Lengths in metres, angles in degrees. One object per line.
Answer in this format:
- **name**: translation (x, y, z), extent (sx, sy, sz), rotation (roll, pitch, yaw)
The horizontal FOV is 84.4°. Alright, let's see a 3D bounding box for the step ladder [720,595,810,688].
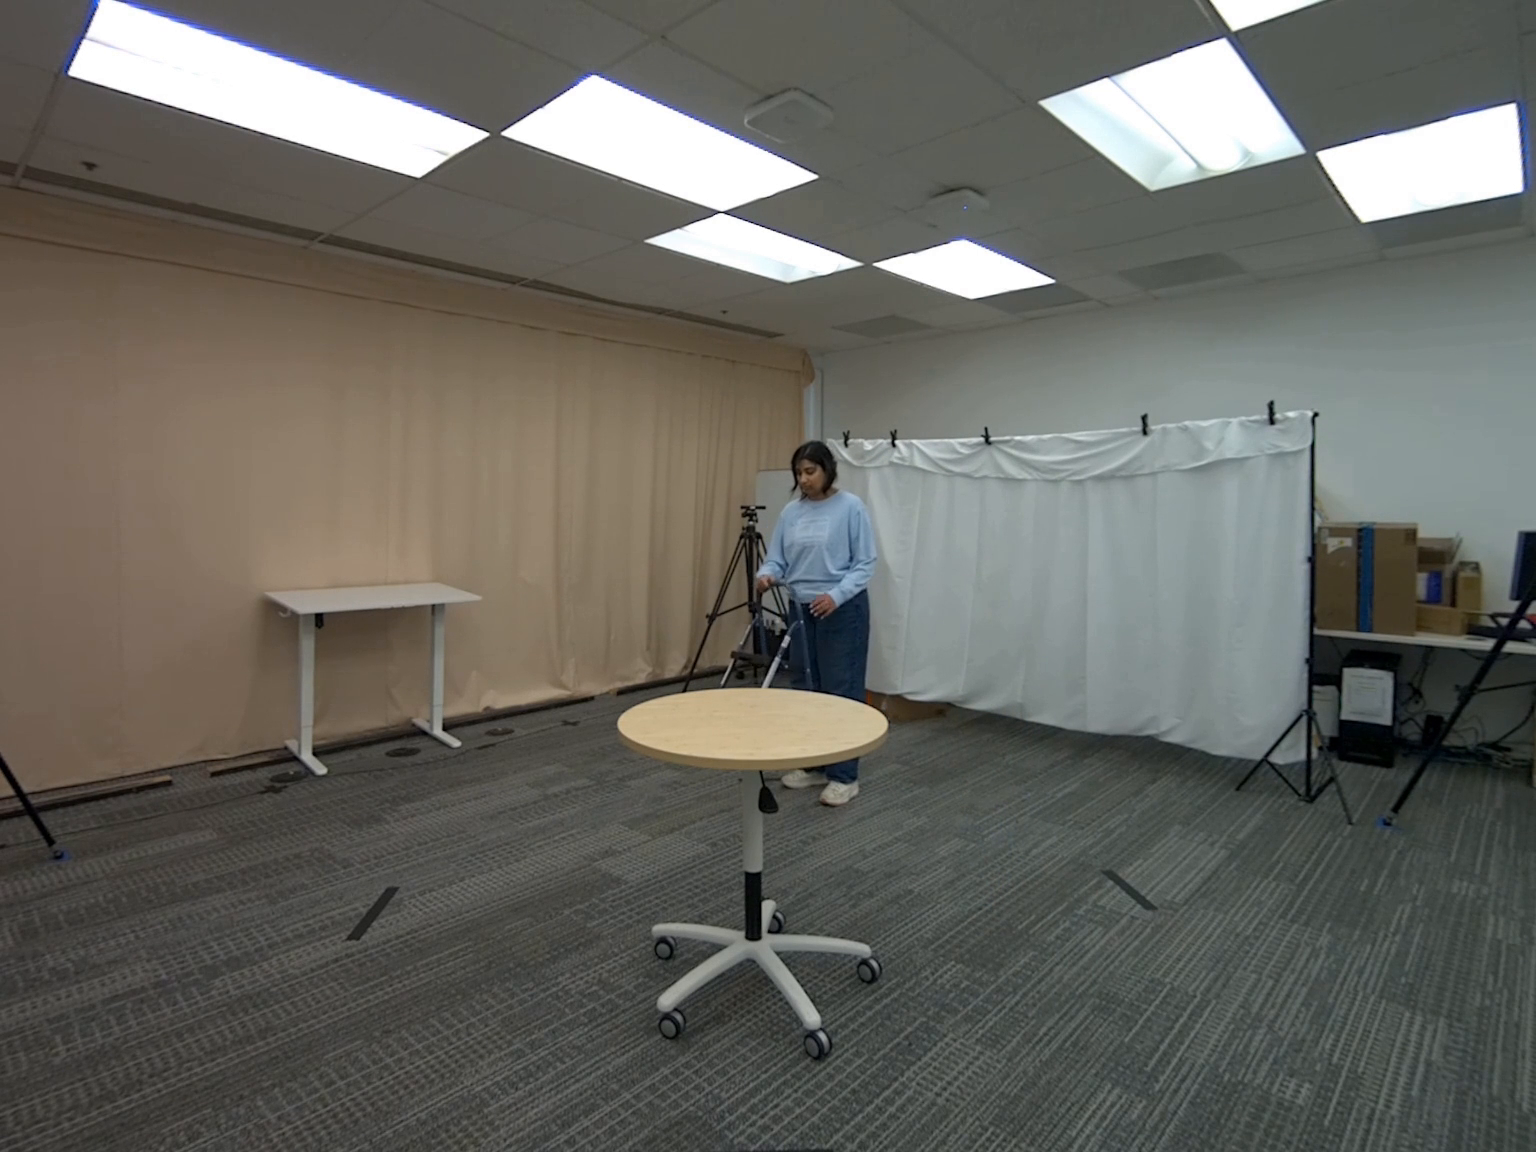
- **step ladder**: translation (0.045, 0.343, 3.861), extent (0.340, 0.608, 0.441), rotation (14, -8, -26)
